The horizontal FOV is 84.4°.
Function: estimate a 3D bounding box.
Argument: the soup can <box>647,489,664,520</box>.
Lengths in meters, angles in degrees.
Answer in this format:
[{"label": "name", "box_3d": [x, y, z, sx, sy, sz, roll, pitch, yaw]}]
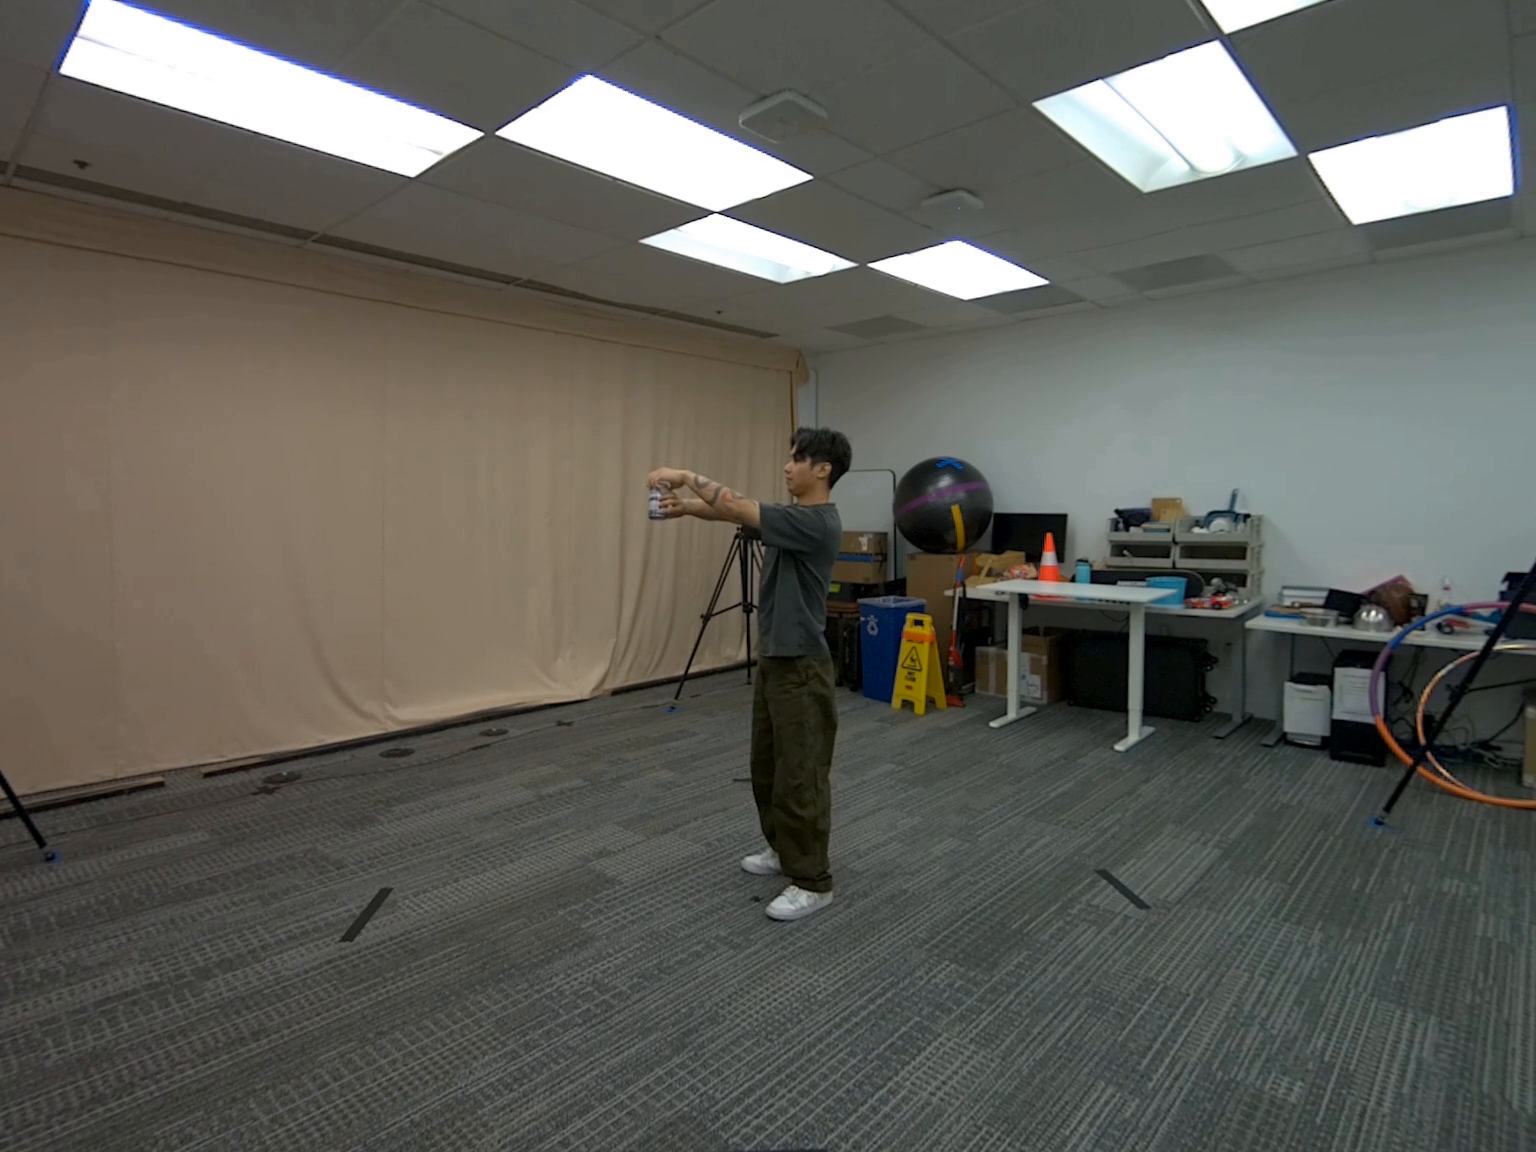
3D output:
[{"label": "soup can", "box_3d": [-0.379, -0.255, 2.919, 0.067, 0.122, 0.067, 5, -11, -1]}]
